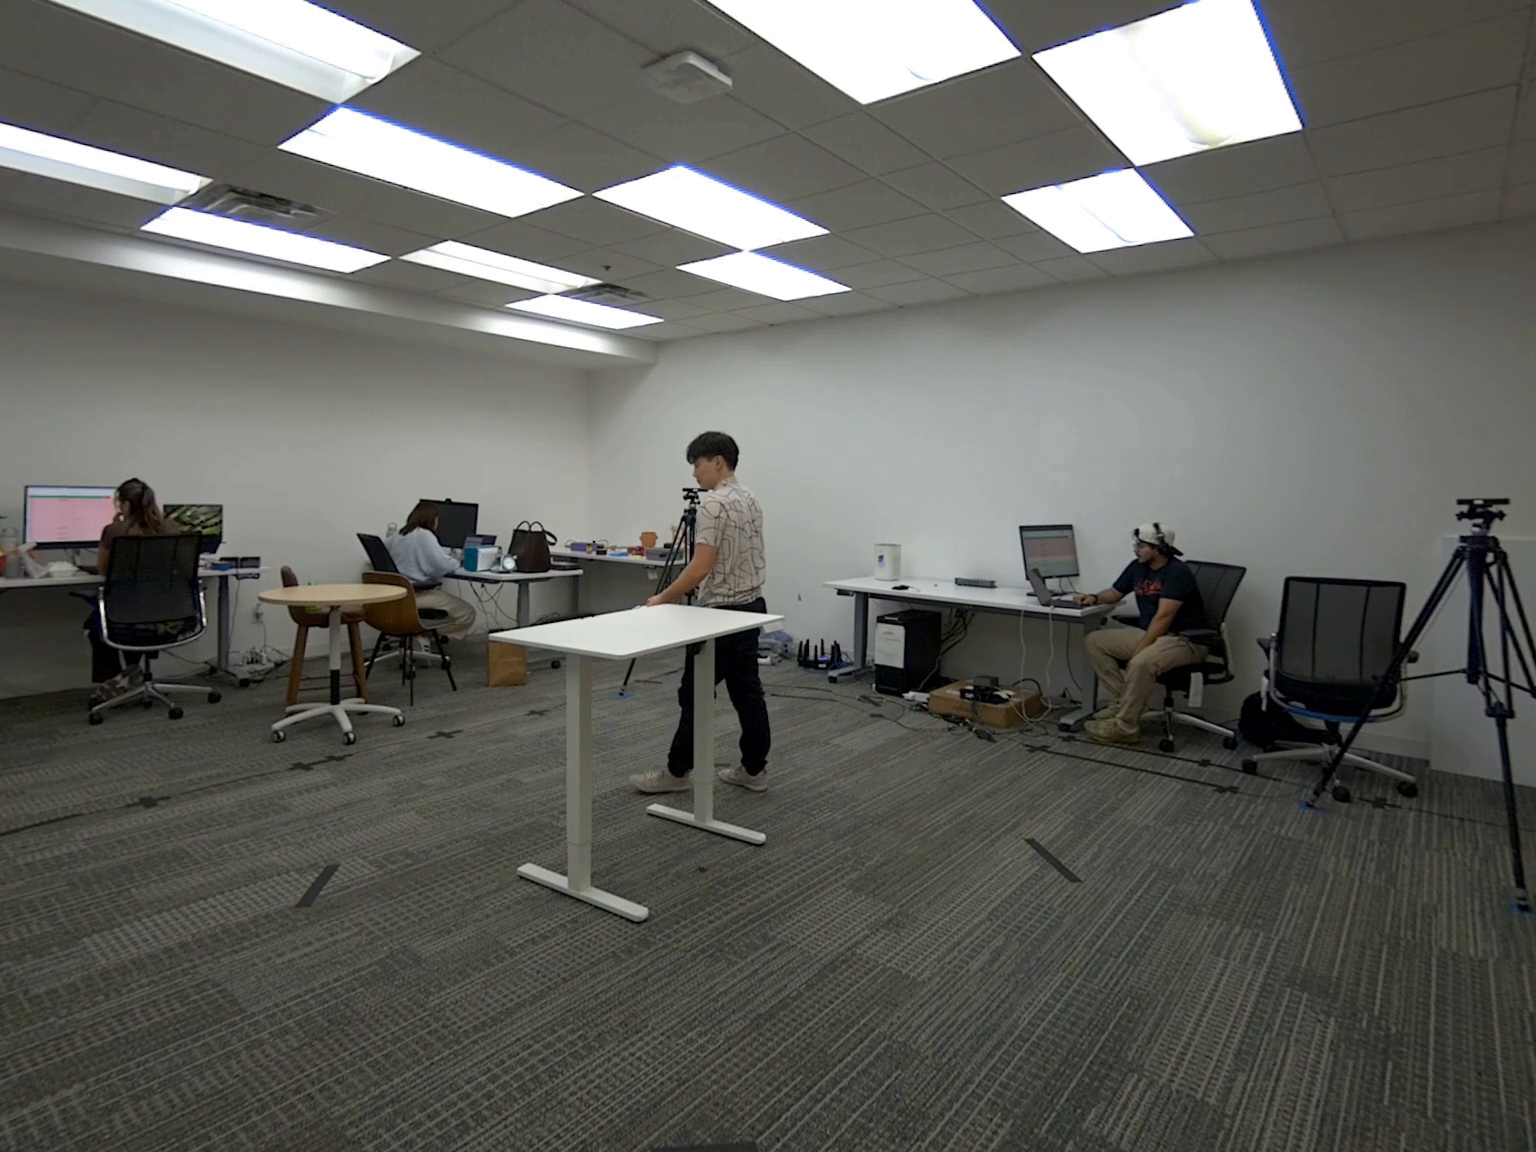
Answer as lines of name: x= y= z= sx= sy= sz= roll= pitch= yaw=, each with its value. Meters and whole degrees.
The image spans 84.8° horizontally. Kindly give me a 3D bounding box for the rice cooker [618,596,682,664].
rice cooker: x=-0.547 y=0.244 z=3.860 sx=0.216 sy=0.231 sz=0.223 roll=8 pitch=9 yaw=-18
